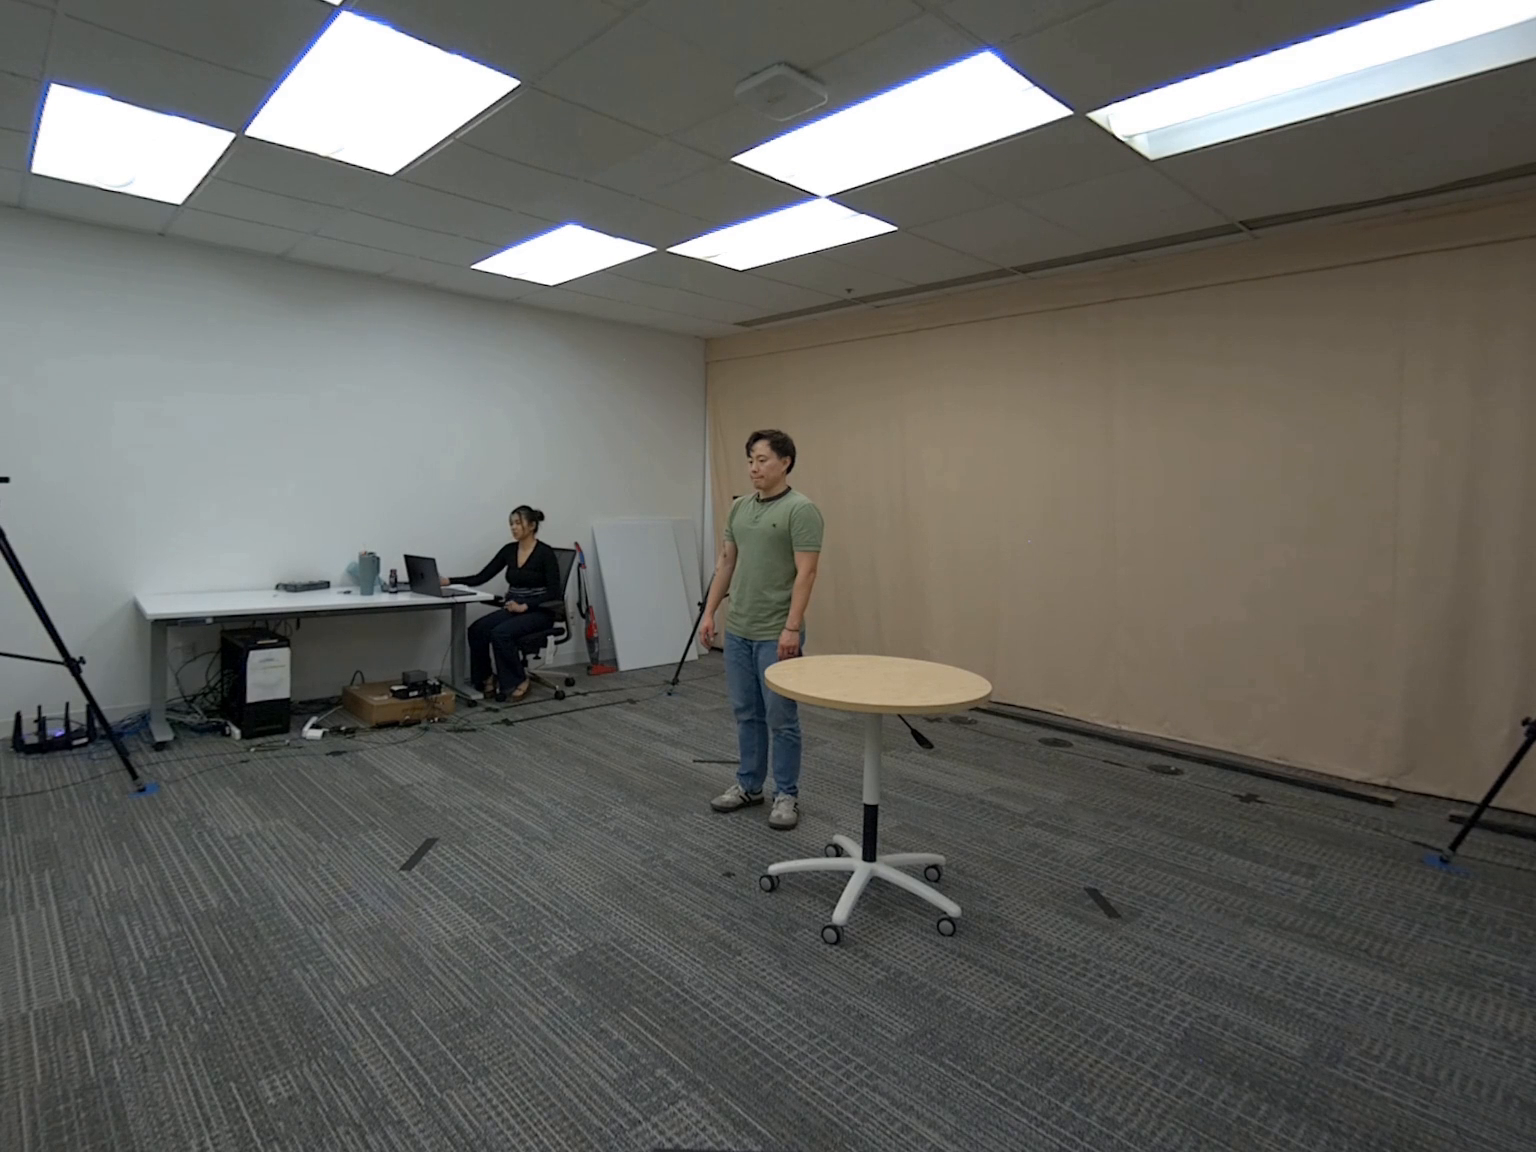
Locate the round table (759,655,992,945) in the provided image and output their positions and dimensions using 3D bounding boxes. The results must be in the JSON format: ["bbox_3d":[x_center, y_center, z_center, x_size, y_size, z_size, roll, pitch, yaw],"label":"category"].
[{"bbox_3d":[0.353,0.743,2.912,0.763,0.791,0.767,2,5,-2],"label":"round table"}]
